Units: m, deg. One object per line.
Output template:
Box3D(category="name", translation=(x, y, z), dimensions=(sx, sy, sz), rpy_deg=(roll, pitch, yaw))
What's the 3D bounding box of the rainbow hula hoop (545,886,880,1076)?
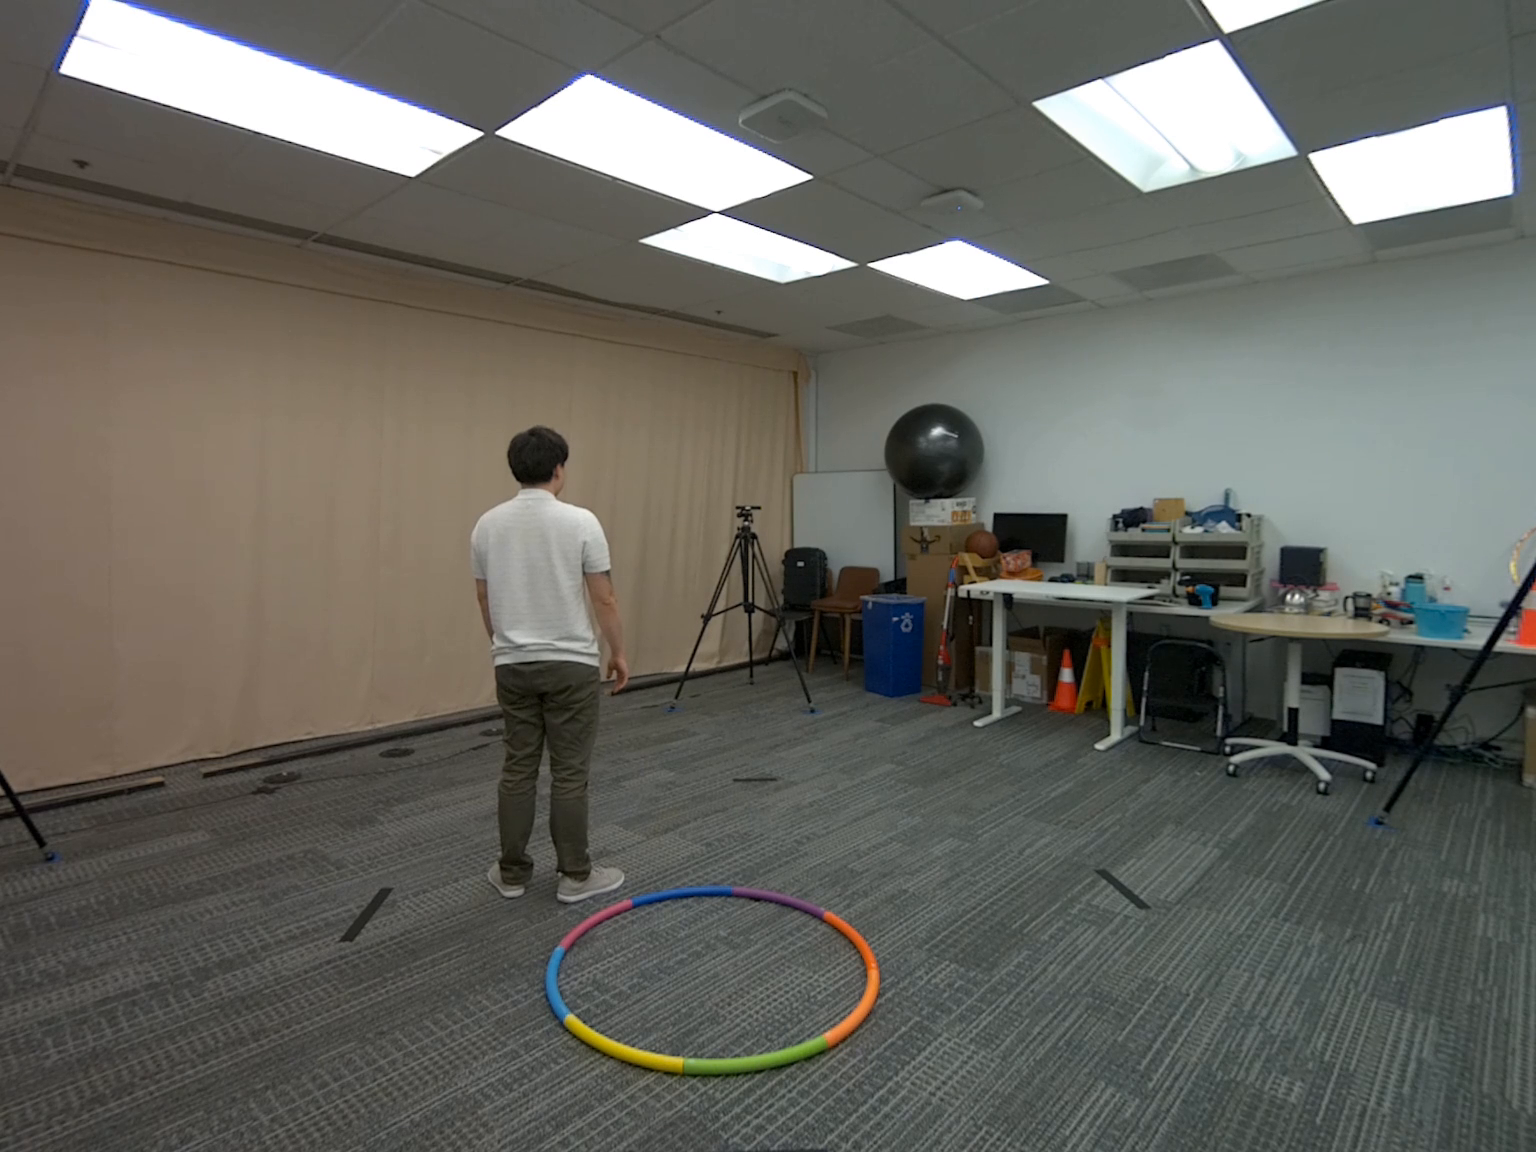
Box3D(category="rainbow hula hoop", translation=(-0.162, 1.152, 2.539), dimensions=(0.978, 0.035, 0.982), rpy_deg=(0, 4, -2))
